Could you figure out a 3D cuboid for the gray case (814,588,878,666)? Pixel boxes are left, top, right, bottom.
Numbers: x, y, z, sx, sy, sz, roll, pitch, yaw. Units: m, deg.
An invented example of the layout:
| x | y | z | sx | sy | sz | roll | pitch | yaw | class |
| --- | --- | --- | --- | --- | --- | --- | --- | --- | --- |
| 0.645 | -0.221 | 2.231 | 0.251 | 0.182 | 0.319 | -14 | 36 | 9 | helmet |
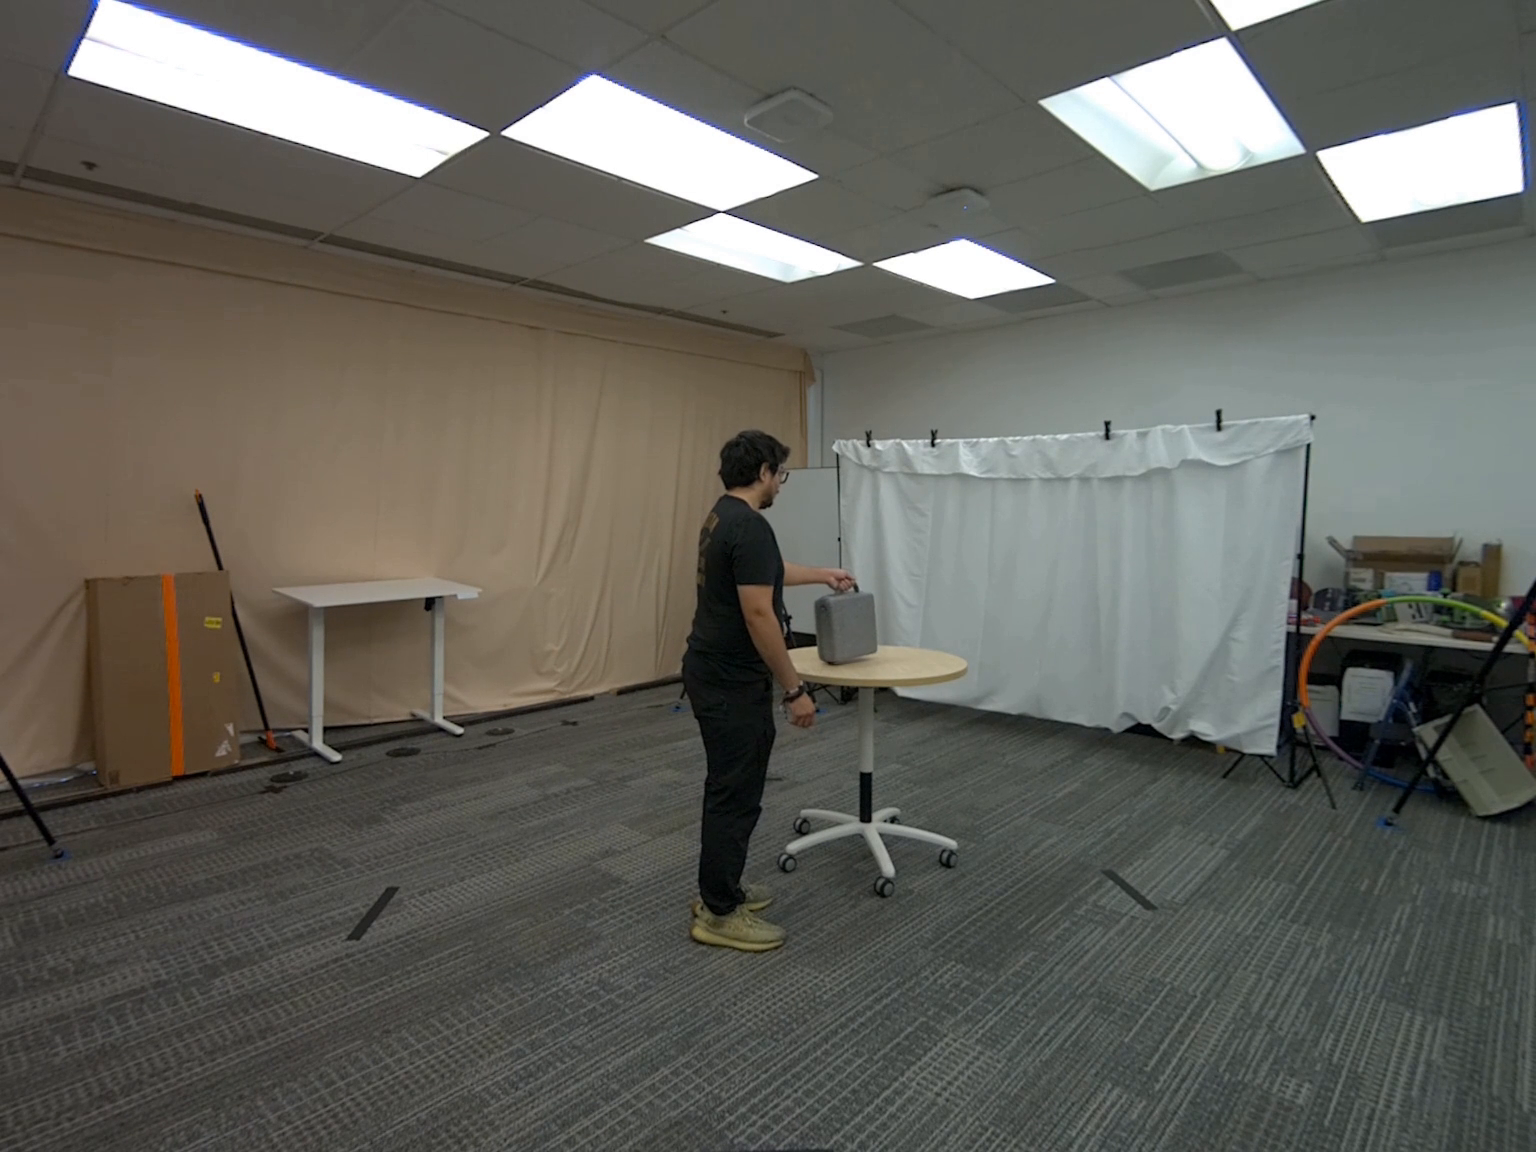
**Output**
| x | y | z | sx | sy | sz | roll | pitch | yaw | class |
| --- | --- | --- | --- | --- | --- | --- | --- | --- | --- |
| 0.308 | 0.191 | 3.274 | 0.250 | 0.260 | 0.107 | -6 | 2 | -36 | gray case |
